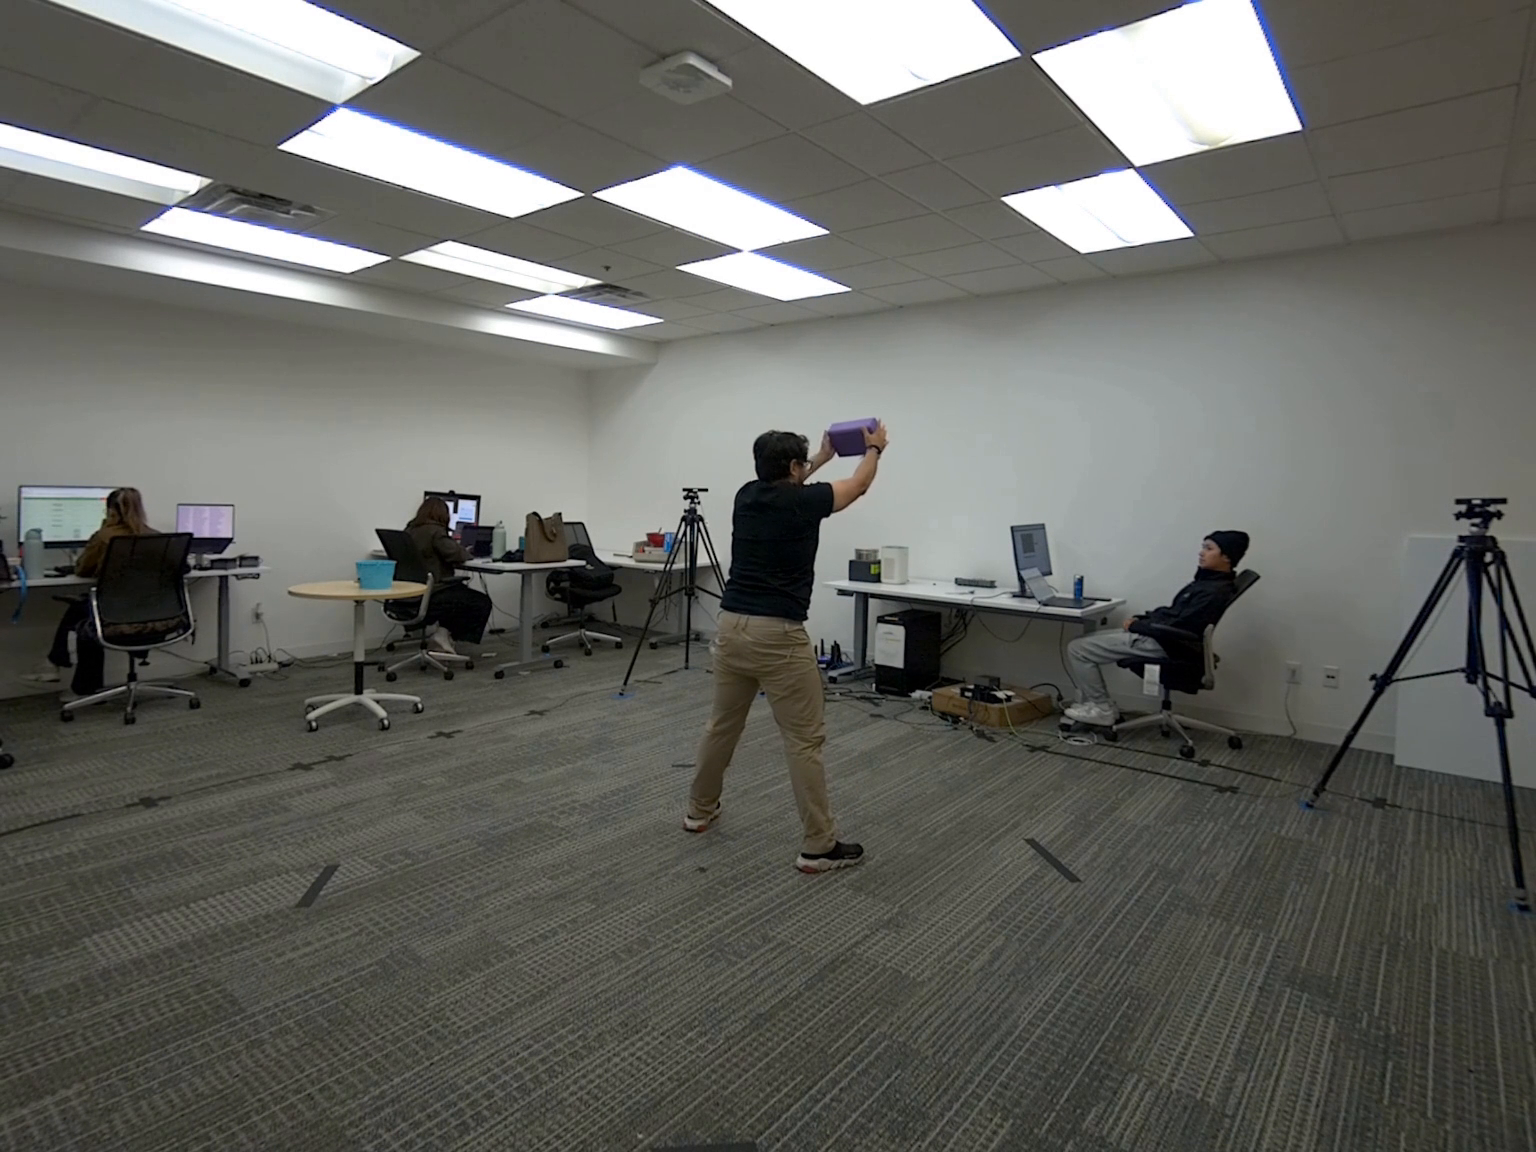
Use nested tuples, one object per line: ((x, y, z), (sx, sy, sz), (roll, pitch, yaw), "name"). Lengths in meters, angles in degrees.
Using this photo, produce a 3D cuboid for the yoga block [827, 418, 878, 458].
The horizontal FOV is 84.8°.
((0.377, -0.605, 3.725), (0.236, 0.144, 0.077), (-2, 40, 40), "yoga block")
